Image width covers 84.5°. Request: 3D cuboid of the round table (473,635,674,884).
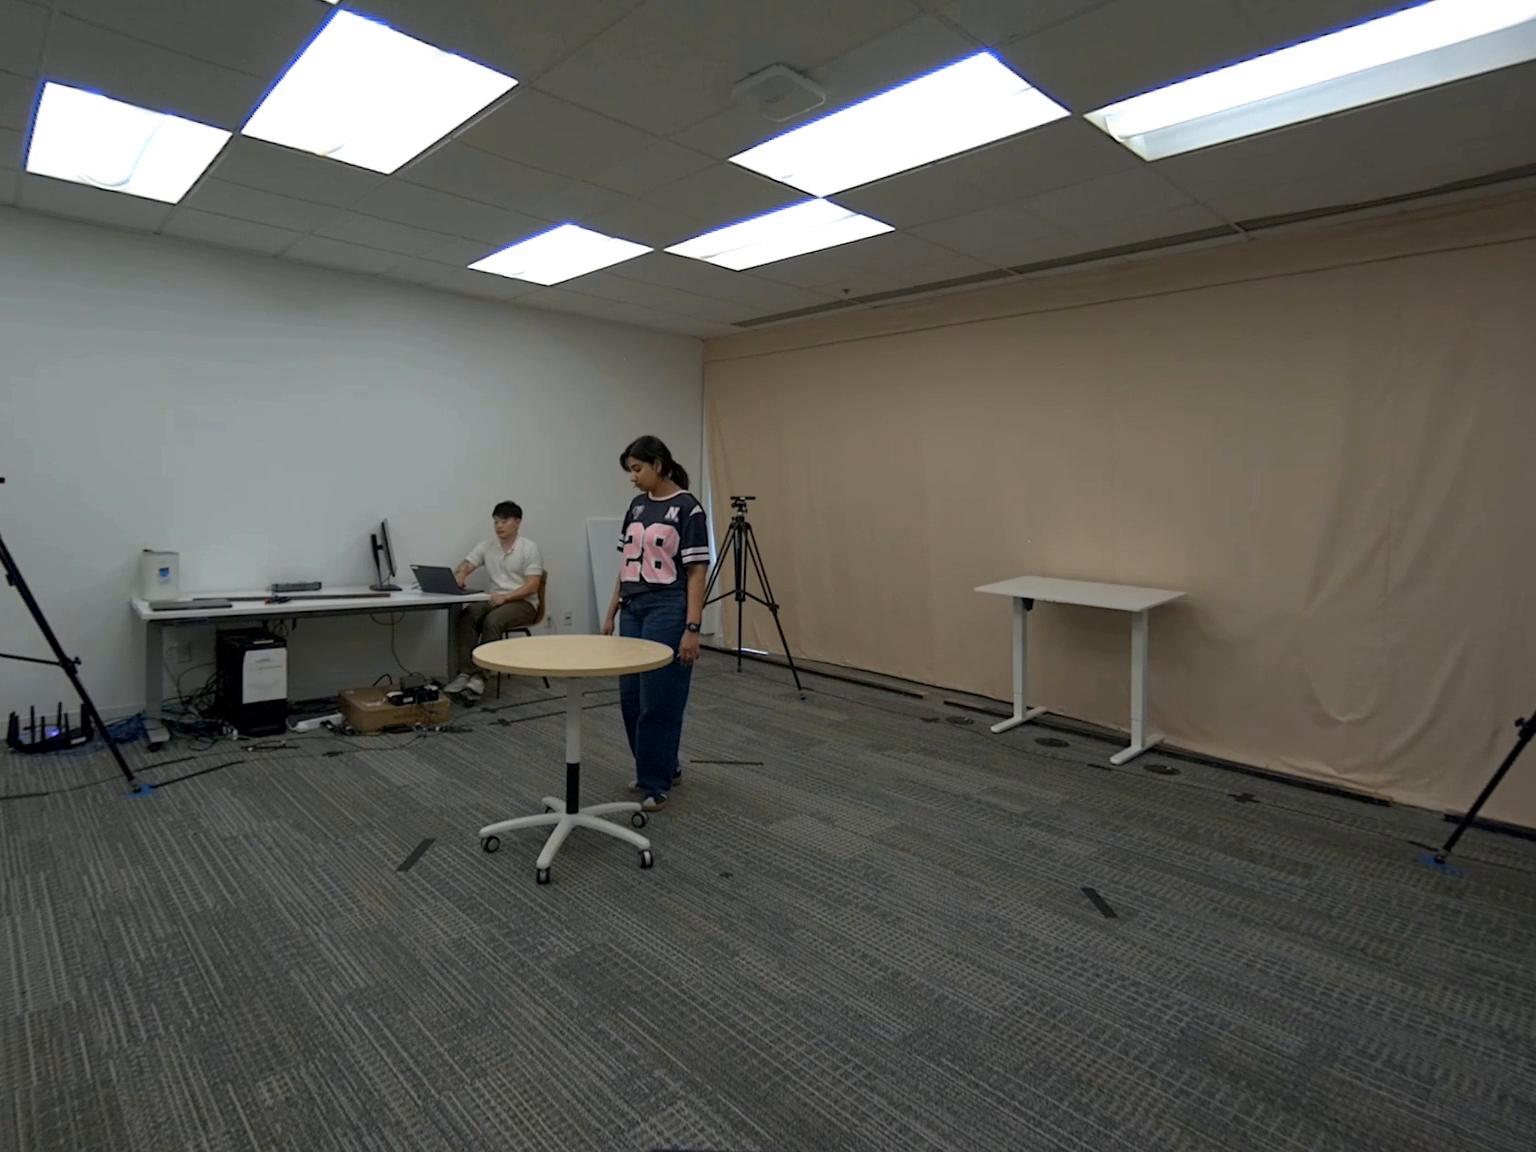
[{"bbox_3d":[-0.773,0.687,3.298,0.763,0.792,0.766,1,4,-1],"label":"round table"}]
